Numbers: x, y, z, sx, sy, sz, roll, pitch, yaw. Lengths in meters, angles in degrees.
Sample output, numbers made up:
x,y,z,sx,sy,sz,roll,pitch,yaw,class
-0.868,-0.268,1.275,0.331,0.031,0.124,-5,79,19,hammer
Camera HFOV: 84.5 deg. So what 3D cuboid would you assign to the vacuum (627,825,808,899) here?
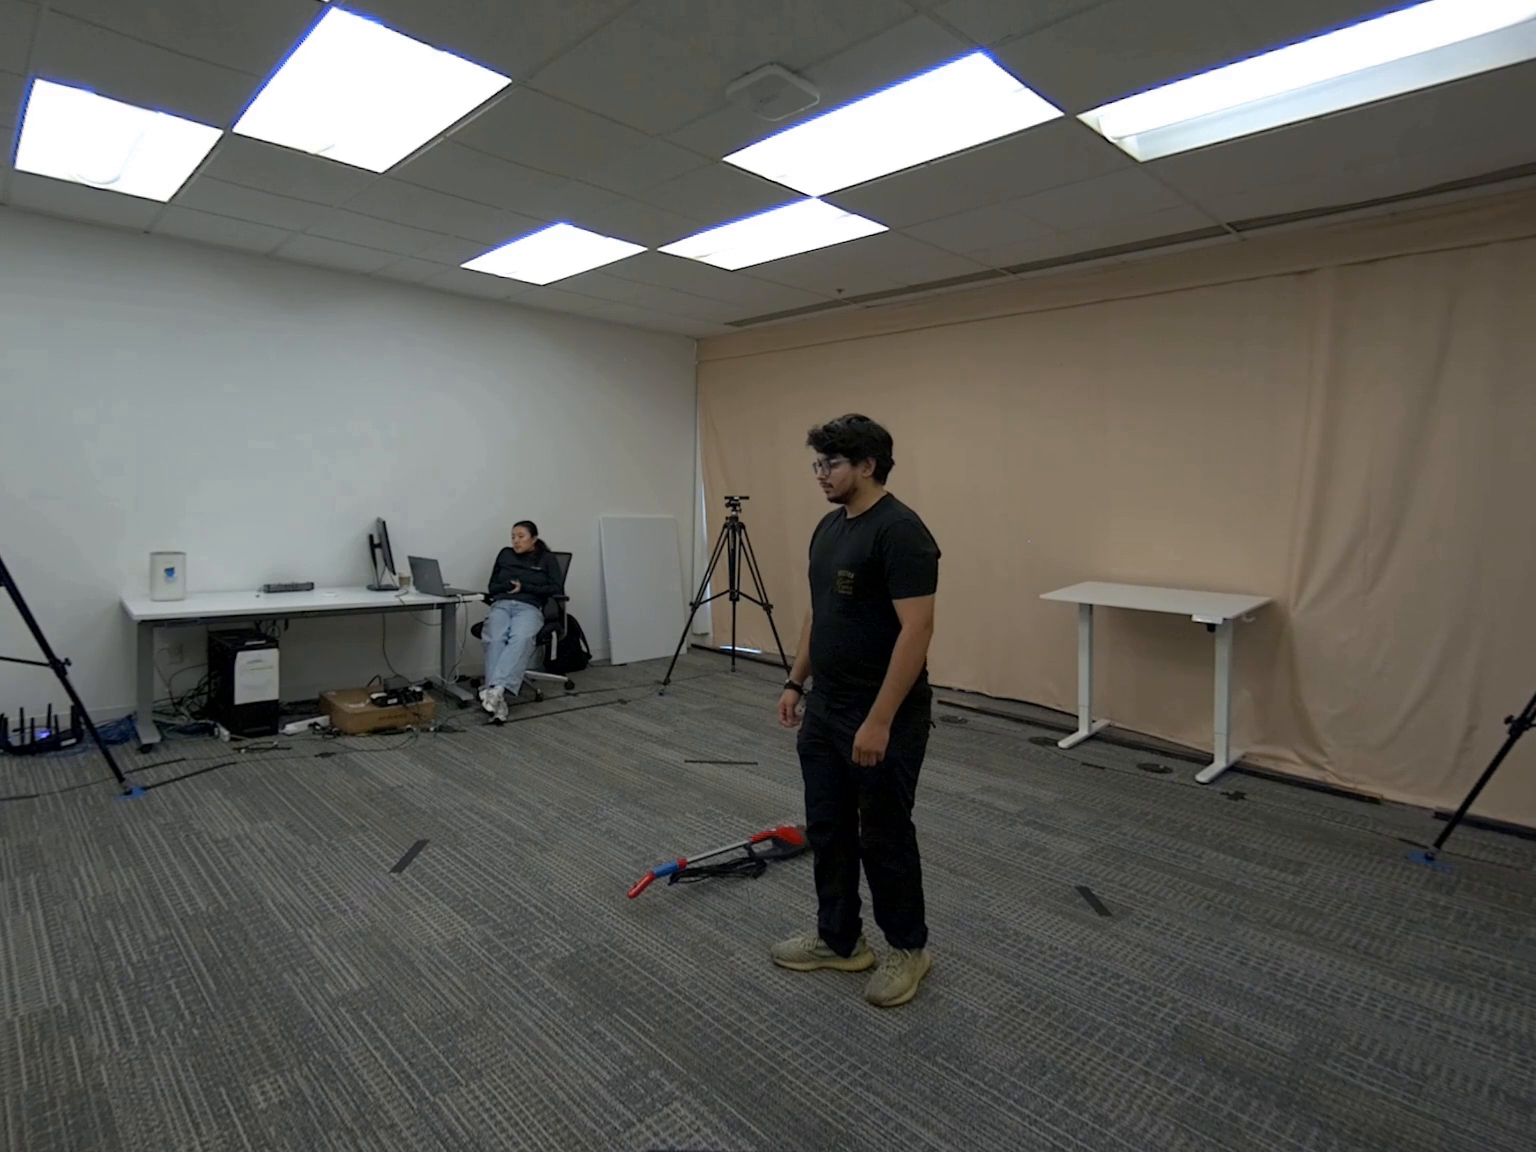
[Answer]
x,y,z,sx,sy,sz,roll,pitch,yaw,class
-0.079,1.042,3.139,1.026,0.143,0.259,-5,7,-42,vacuum
